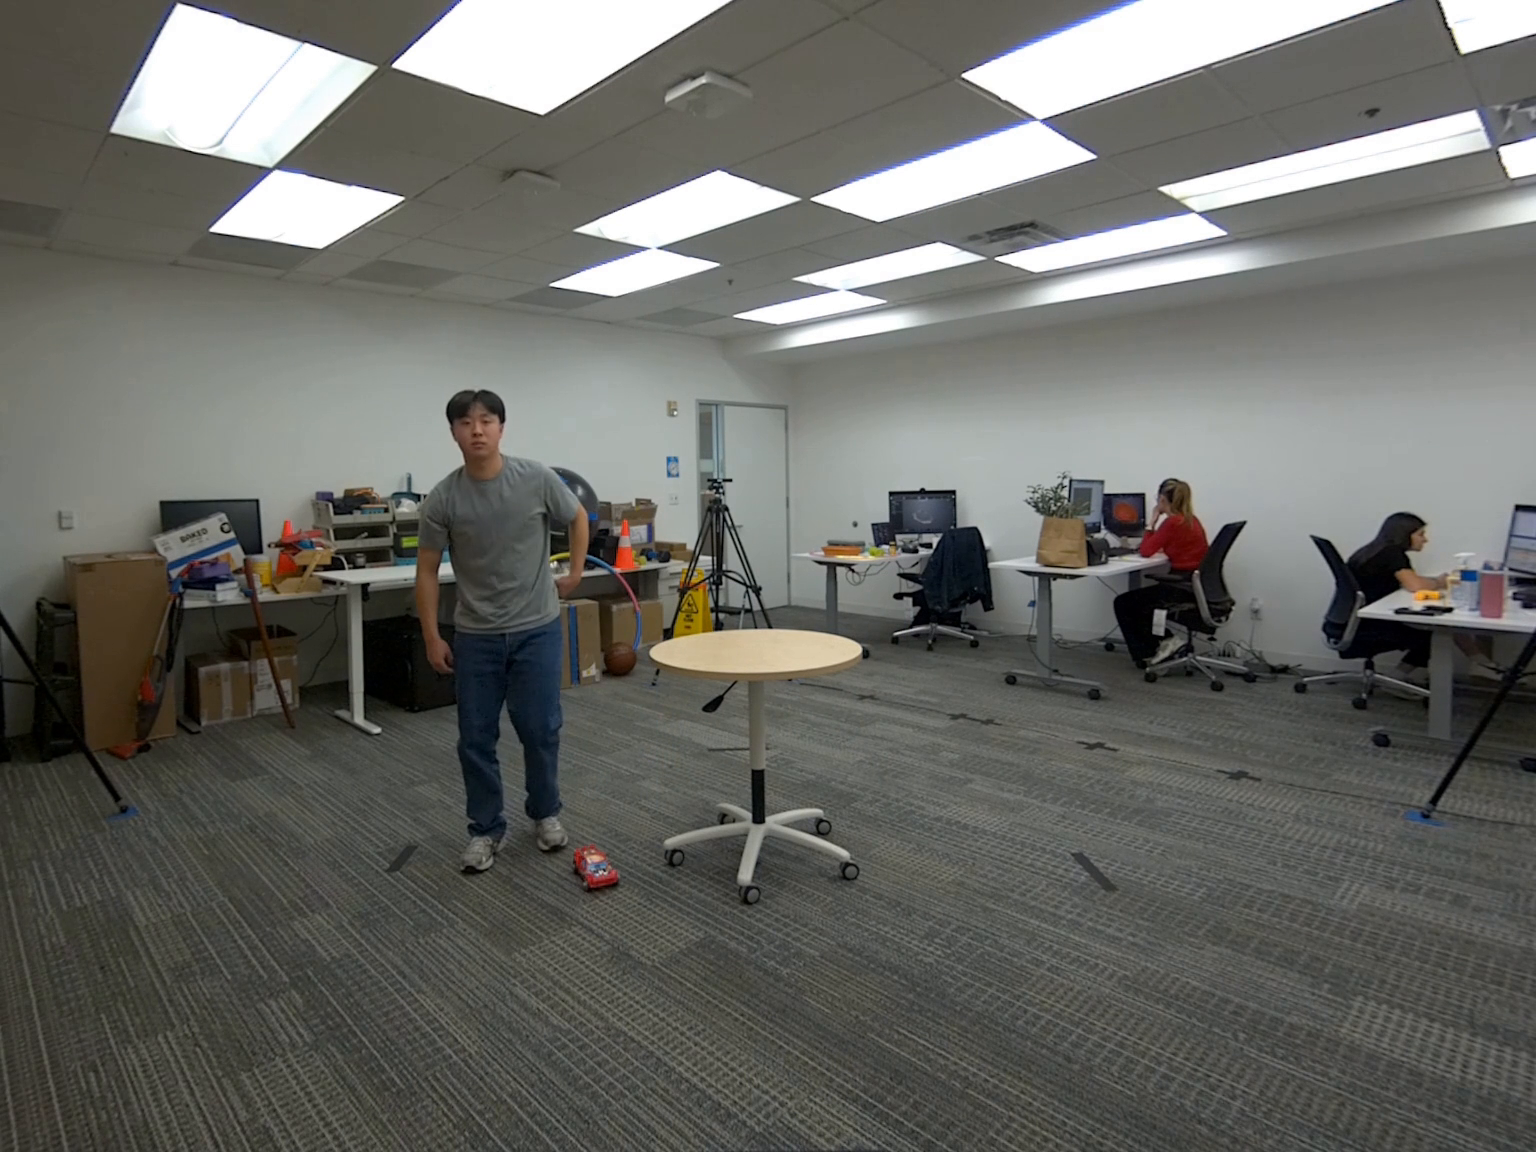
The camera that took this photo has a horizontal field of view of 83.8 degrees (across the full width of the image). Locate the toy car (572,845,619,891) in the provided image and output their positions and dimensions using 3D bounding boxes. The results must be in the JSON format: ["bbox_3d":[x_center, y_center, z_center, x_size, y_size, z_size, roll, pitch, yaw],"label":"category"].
[{"bbox_3d":[-0.615,1.035,3.025,0.127,0.082,0.263,-5,18,-26],"label":"toy car"}]
